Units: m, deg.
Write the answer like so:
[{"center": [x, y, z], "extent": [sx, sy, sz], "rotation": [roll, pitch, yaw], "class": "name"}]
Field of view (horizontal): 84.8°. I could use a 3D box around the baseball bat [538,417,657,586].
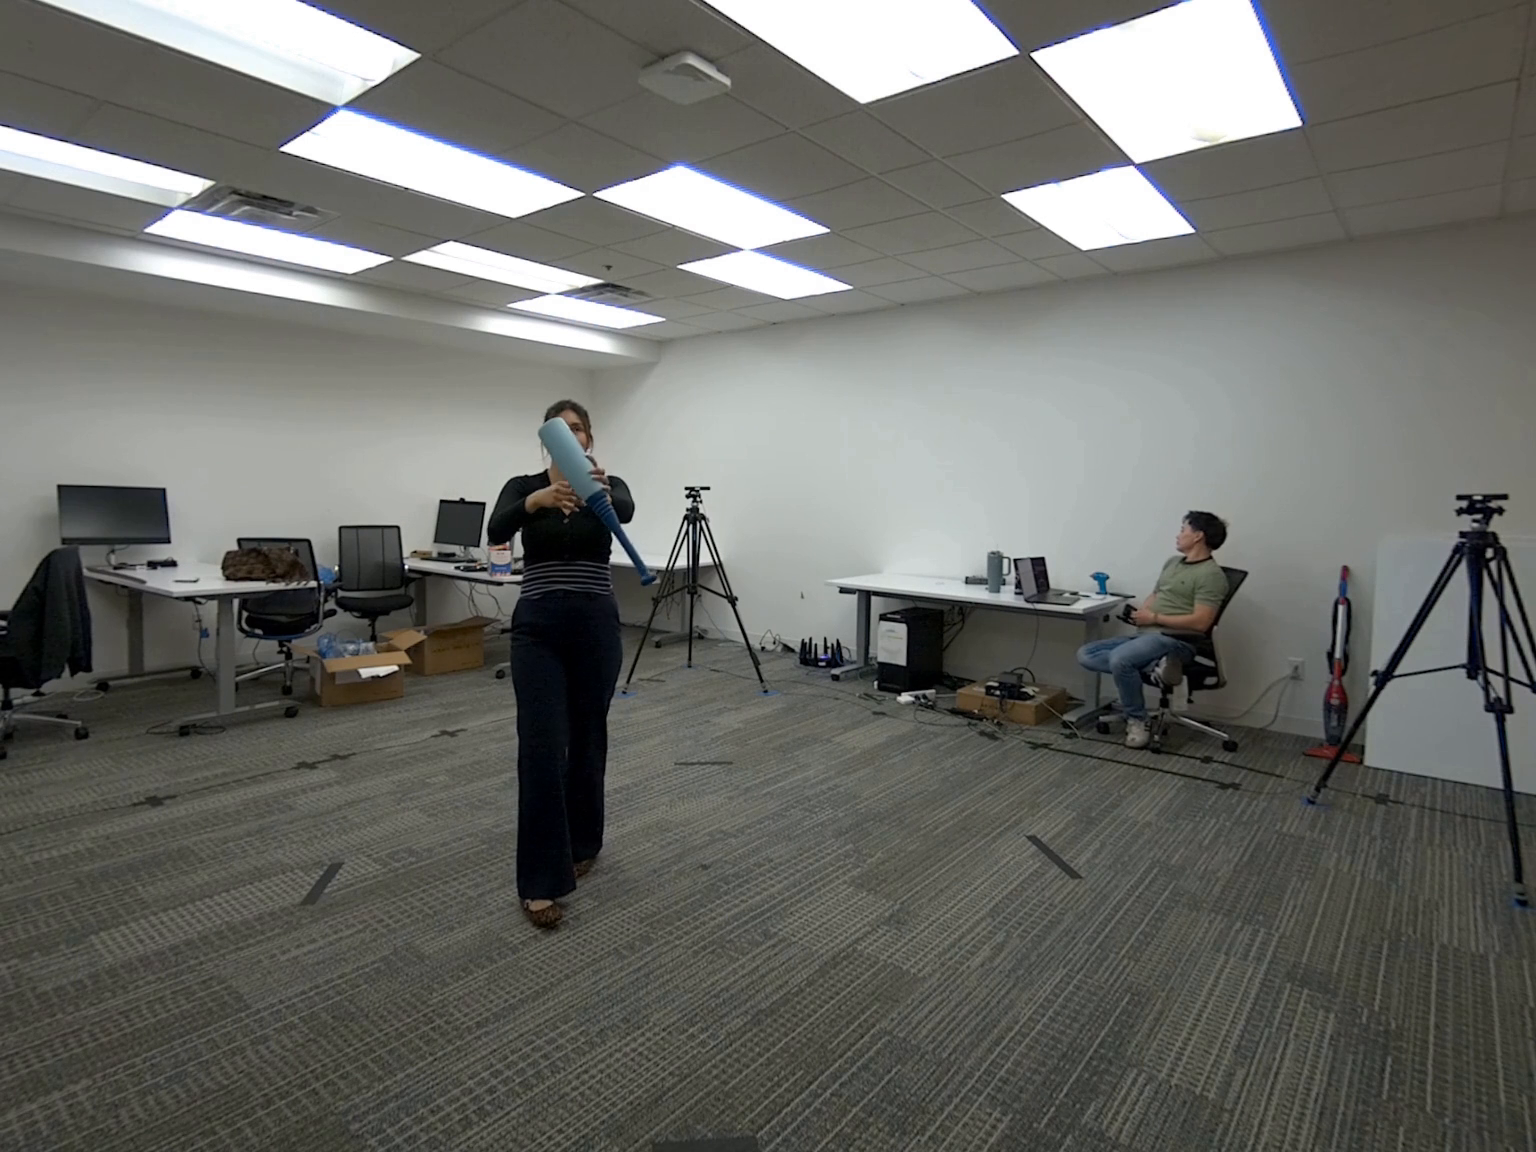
[{"center": [-0.481, -0.214, 2.388], "extent": [0.089, 0.550, 0.088], "rotation": [-33, -9, -6], "class": "baseball bat"}]
